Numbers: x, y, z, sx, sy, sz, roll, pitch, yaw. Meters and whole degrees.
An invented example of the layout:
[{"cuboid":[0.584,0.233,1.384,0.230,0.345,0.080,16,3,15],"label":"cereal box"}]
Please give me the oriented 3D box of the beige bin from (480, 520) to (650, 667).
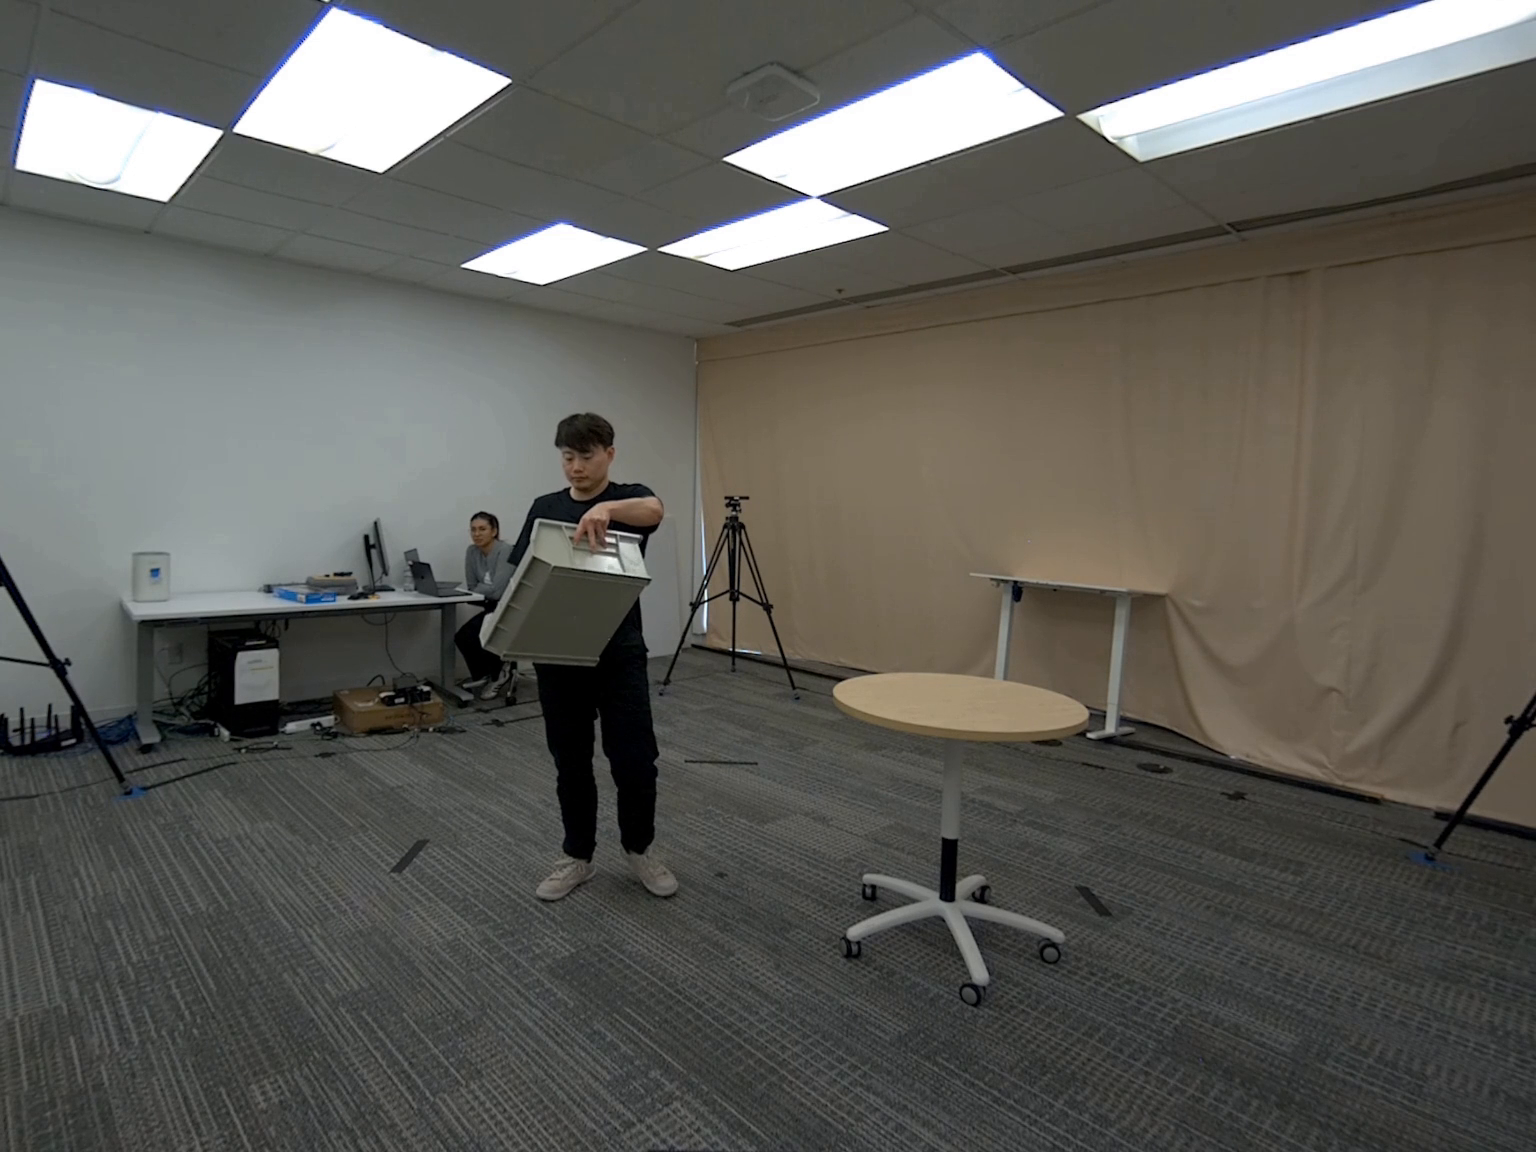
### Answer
[{"cuboid":[-0.619,0.063,2.509,0.368,0.421,0.194,10,41,-36],"label":"beige bin"}]
